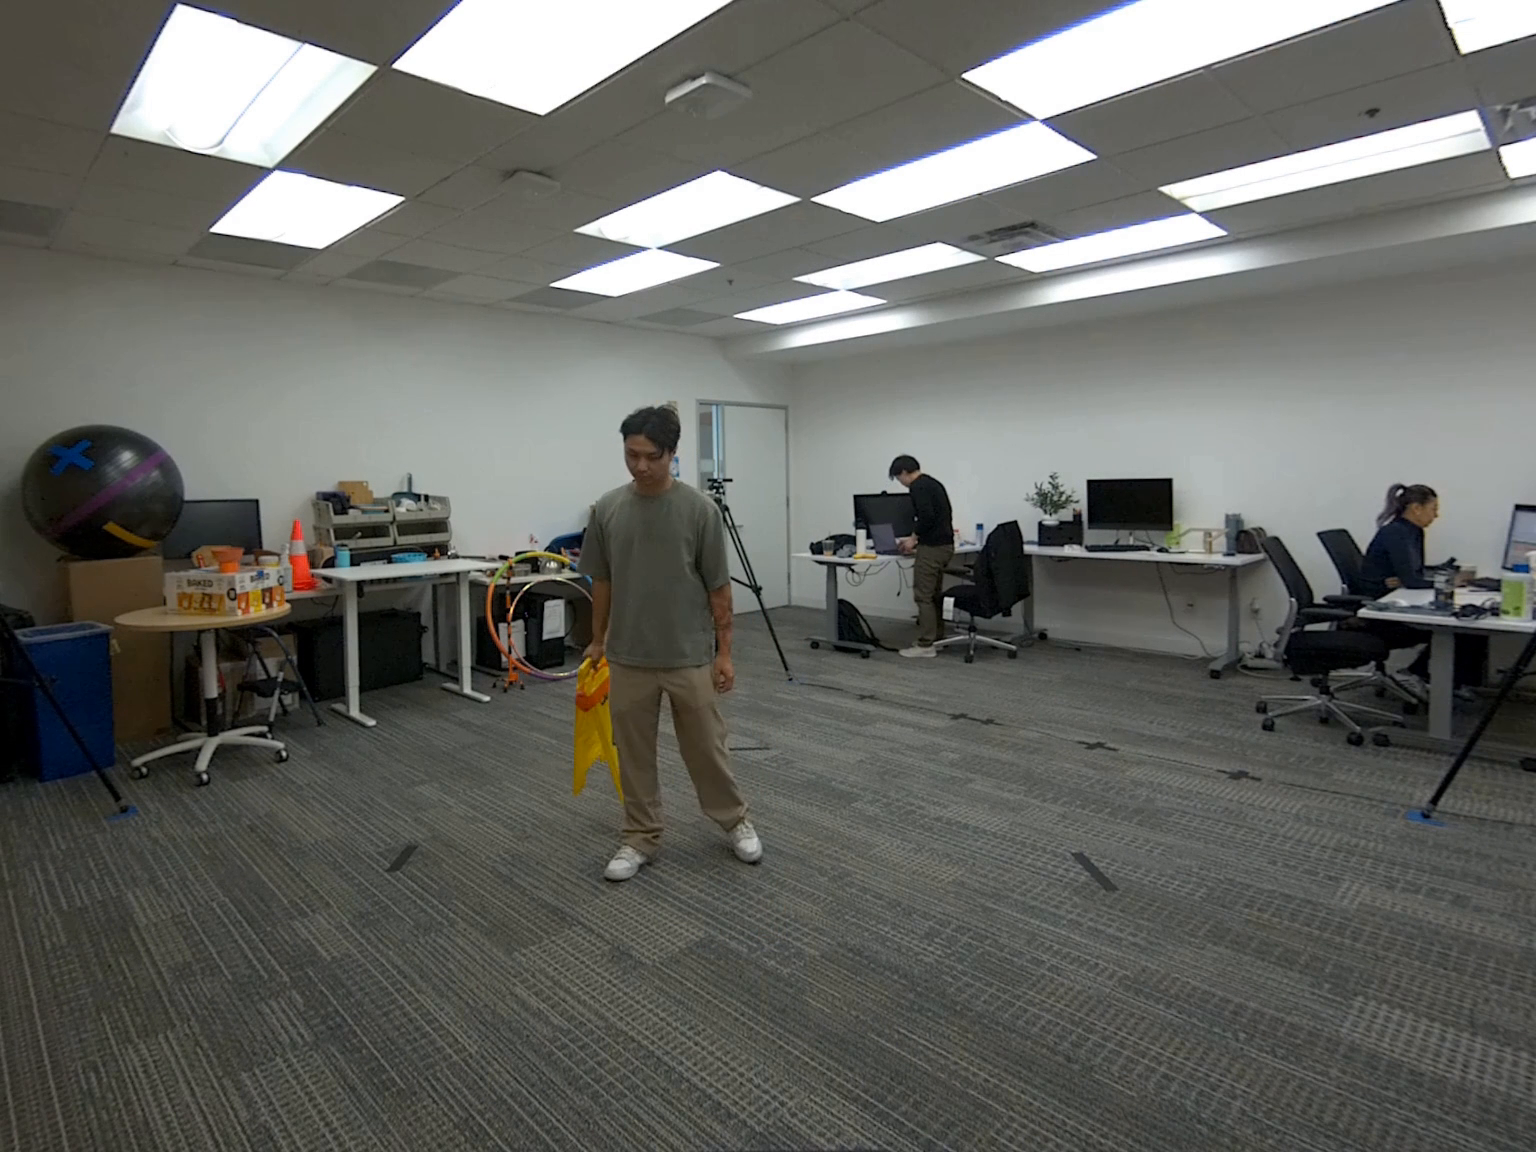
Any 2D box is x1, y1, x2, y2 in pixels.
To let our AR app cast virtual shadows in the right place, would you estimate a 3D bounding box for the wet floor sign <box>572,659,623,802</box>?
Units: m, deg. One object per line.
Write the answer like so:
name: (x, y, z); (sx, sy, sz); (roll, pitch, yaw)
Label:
wet floor sign: (-0.639, 0.574, 3.359); (0.297, 0.630, 0.282); (9, 31, 22)
